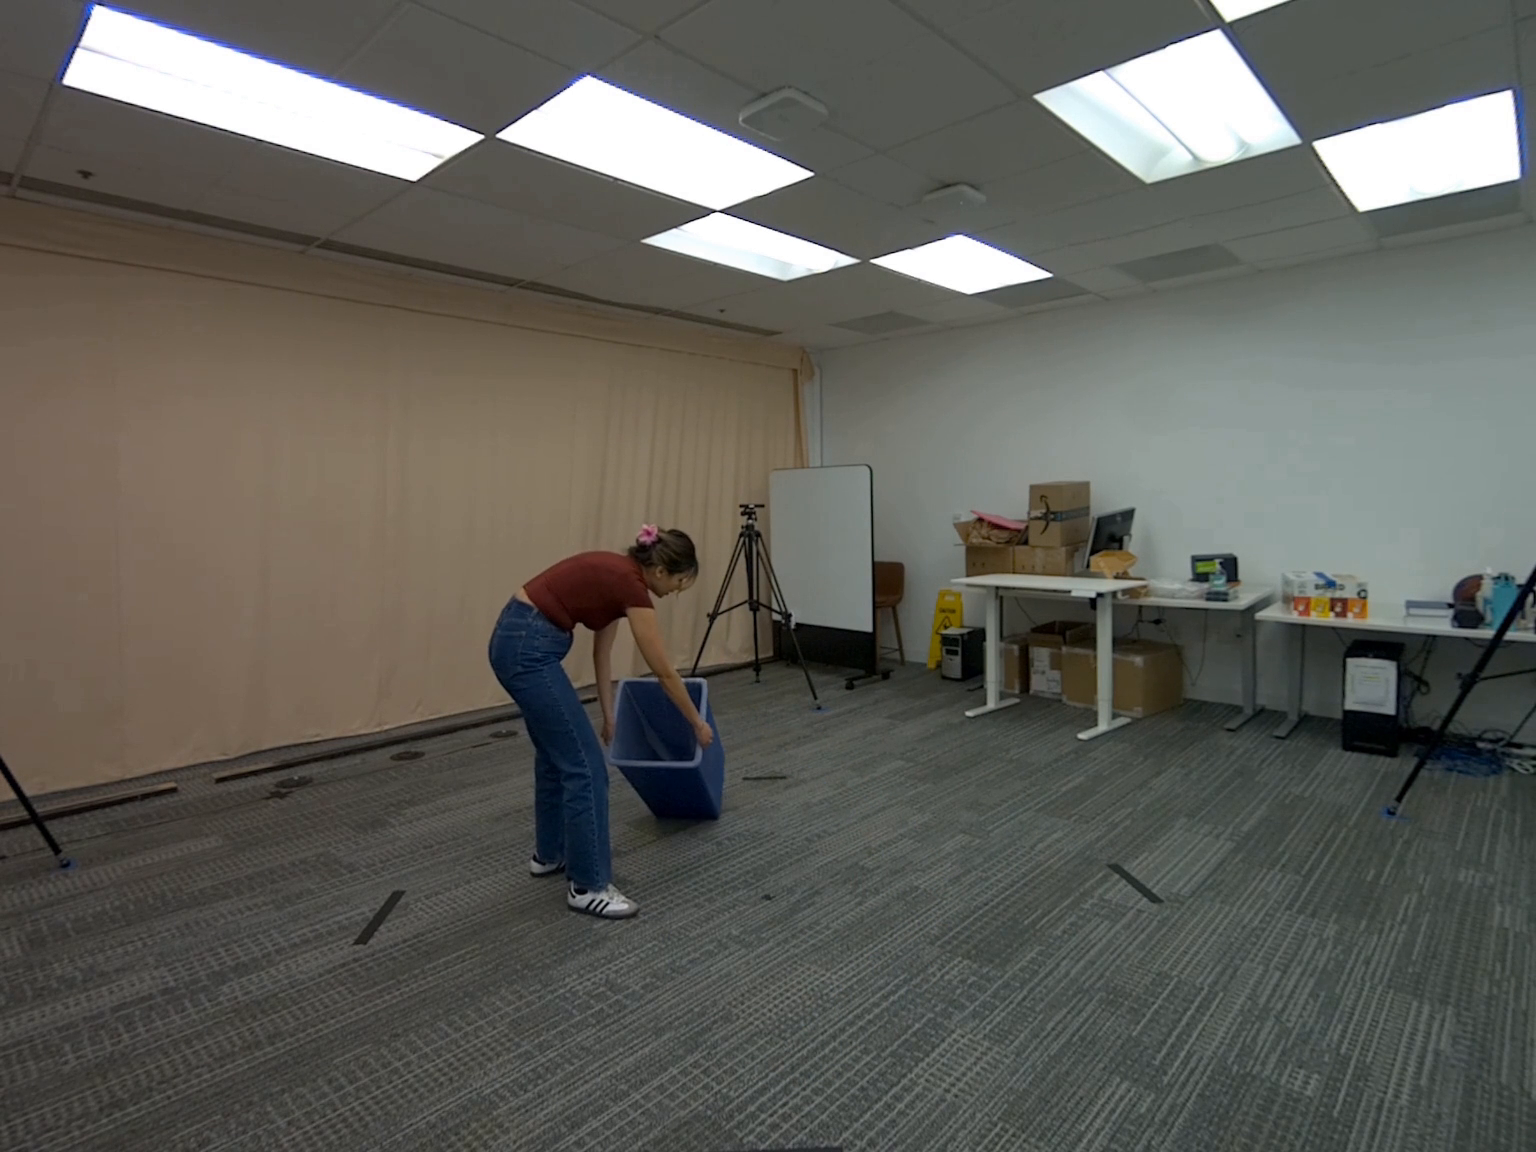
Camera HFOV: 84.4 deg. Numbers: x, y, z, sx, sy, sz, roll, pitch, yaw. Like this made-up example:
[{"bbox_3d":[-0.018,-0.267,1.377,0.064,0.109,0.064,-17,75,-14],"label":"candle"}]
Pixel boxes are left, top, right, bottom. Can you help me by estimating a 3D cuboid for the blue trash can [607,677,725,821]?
[{"bbox_3d":[-0.382,0.764,3.544,0.382,0.379,0.695,-1,-36,10],"label":"blue trash can"}]
